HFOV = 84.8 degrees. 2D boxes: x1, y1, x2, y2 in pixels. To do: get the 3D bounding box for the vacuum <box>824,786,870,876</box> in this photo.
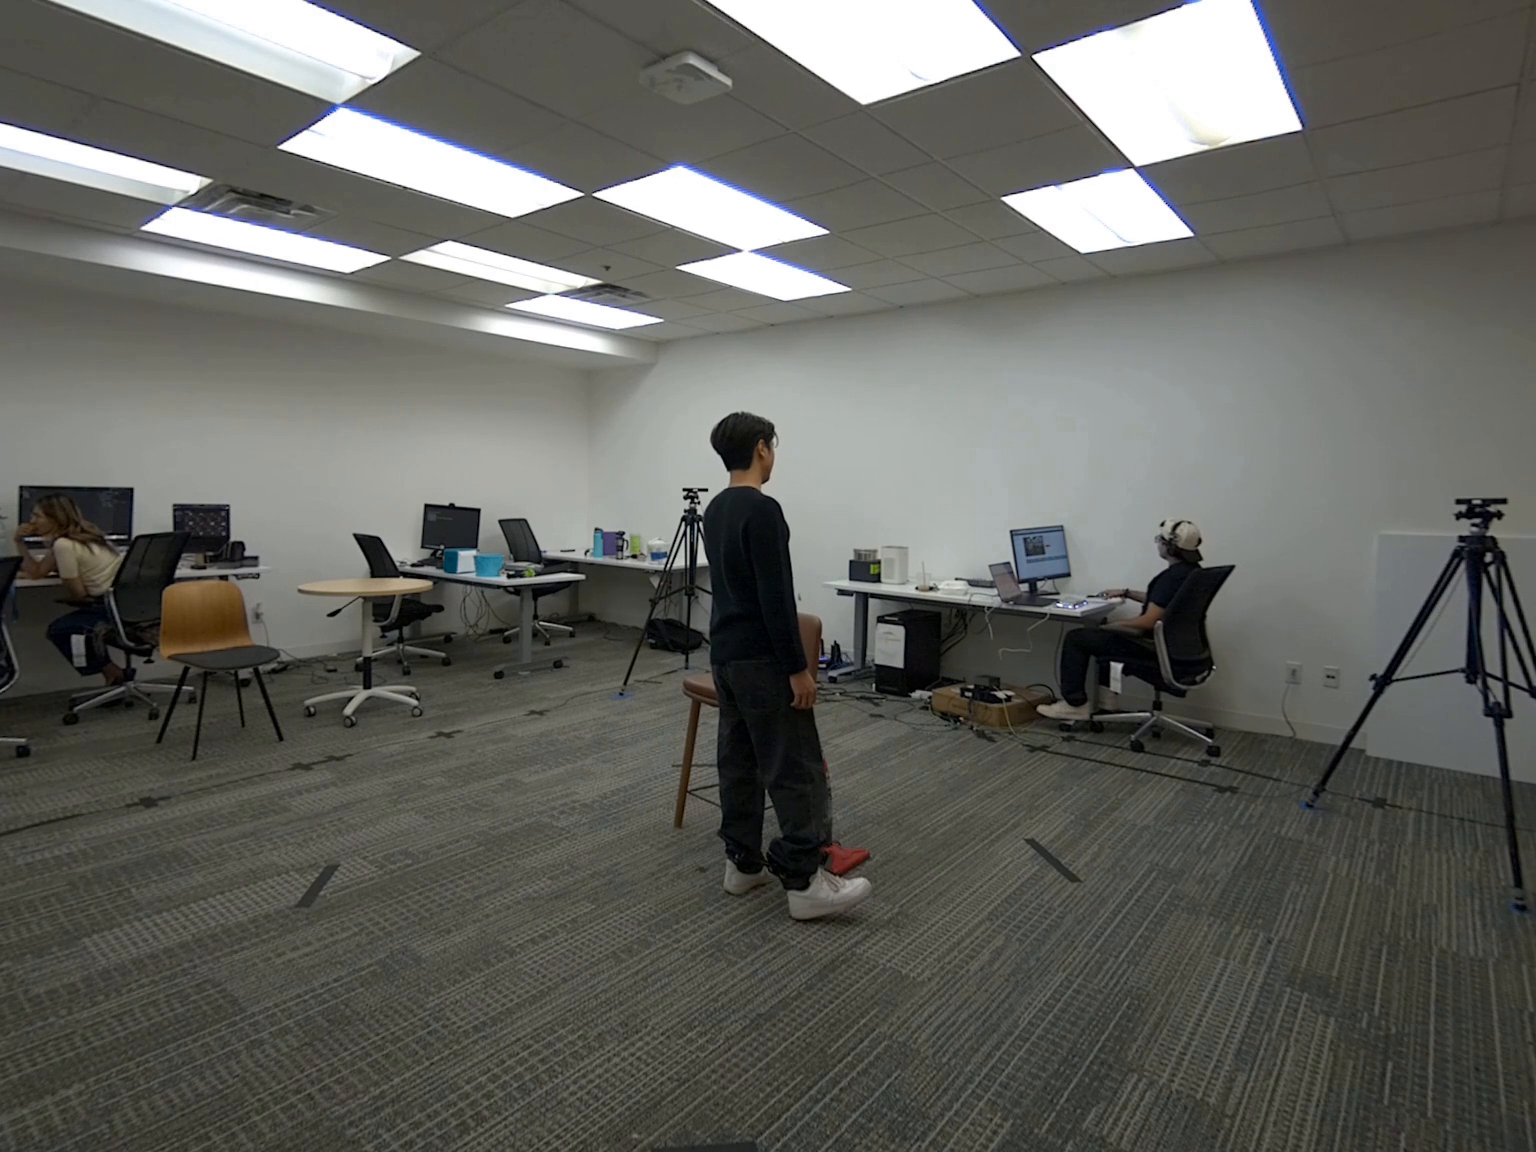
[{"bbox_3d":[0.139,0.561,3.292,0.146,1.062,0.245,-22,-13,39],"label":"vacuum"}]
